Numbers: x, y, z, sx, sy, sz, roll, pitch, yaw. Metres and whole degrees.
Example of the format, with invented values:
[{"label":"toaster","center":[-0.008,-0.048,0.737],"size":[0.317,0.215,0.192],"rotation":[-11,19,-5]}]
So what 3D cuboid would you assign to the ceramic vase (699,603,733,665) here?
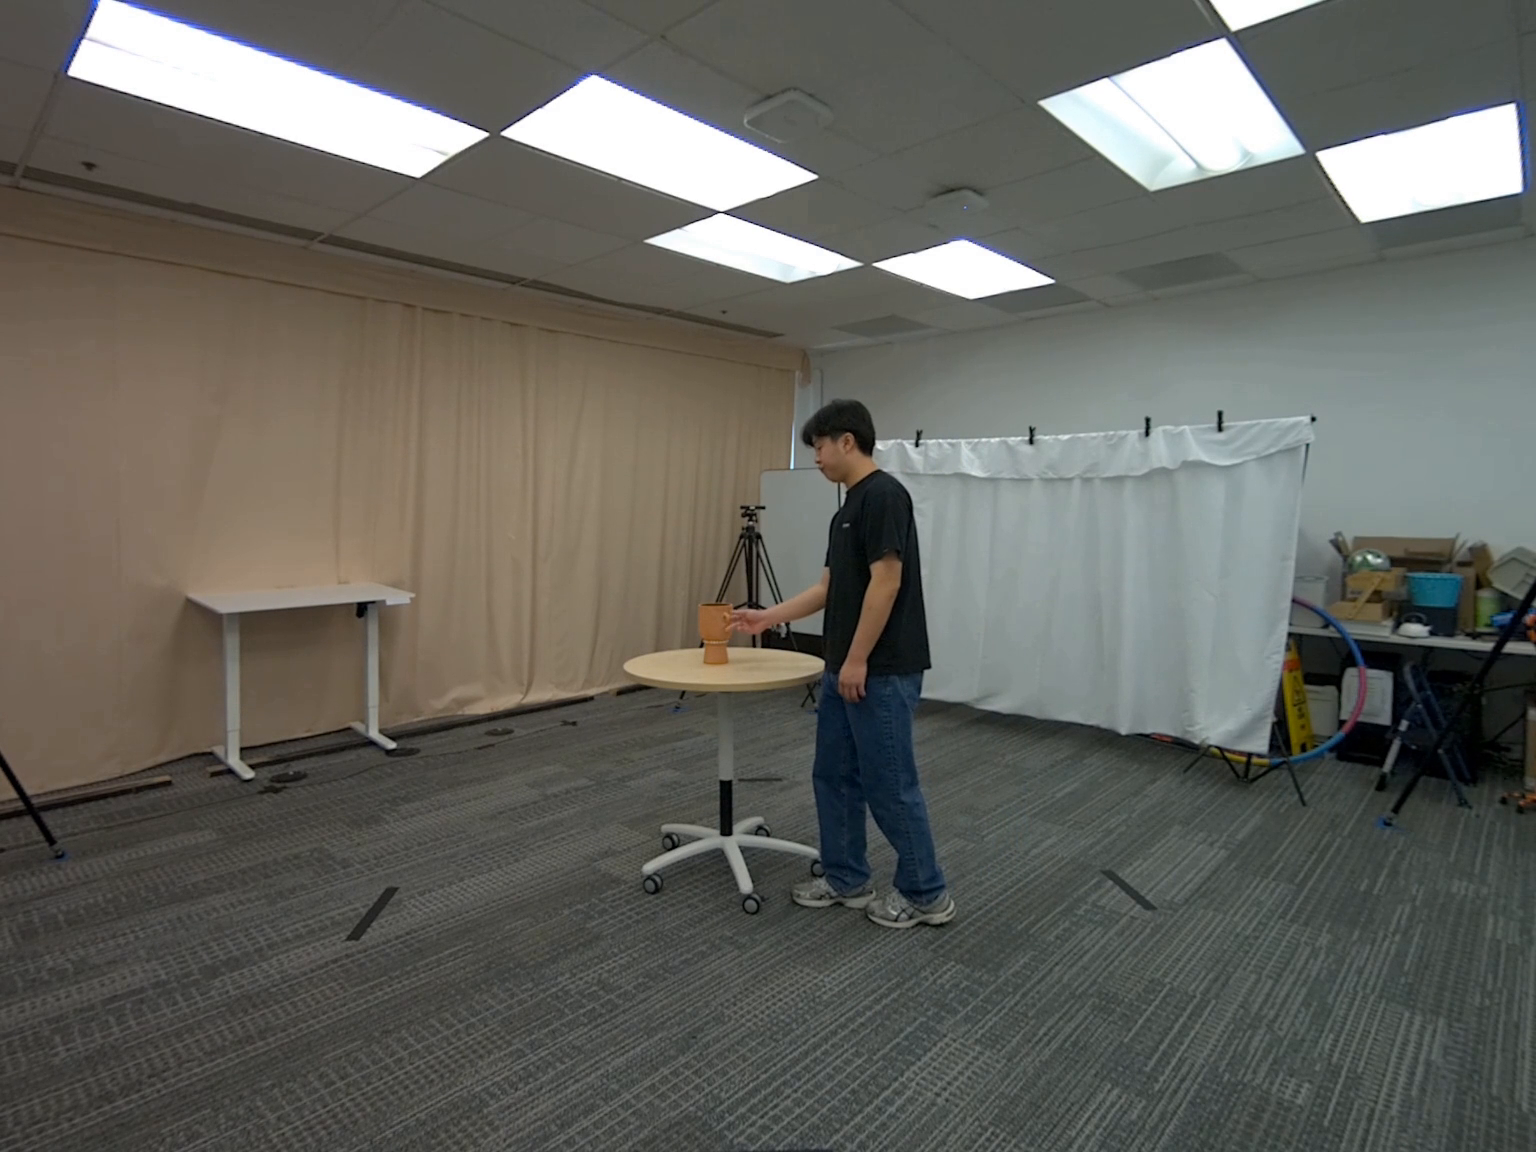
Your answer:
[{"label":"ceramic vase","center":[-0.198,0.223,3.208],"size":[0.135,0.219,0.158],"rotation":[0,4,3]}]
